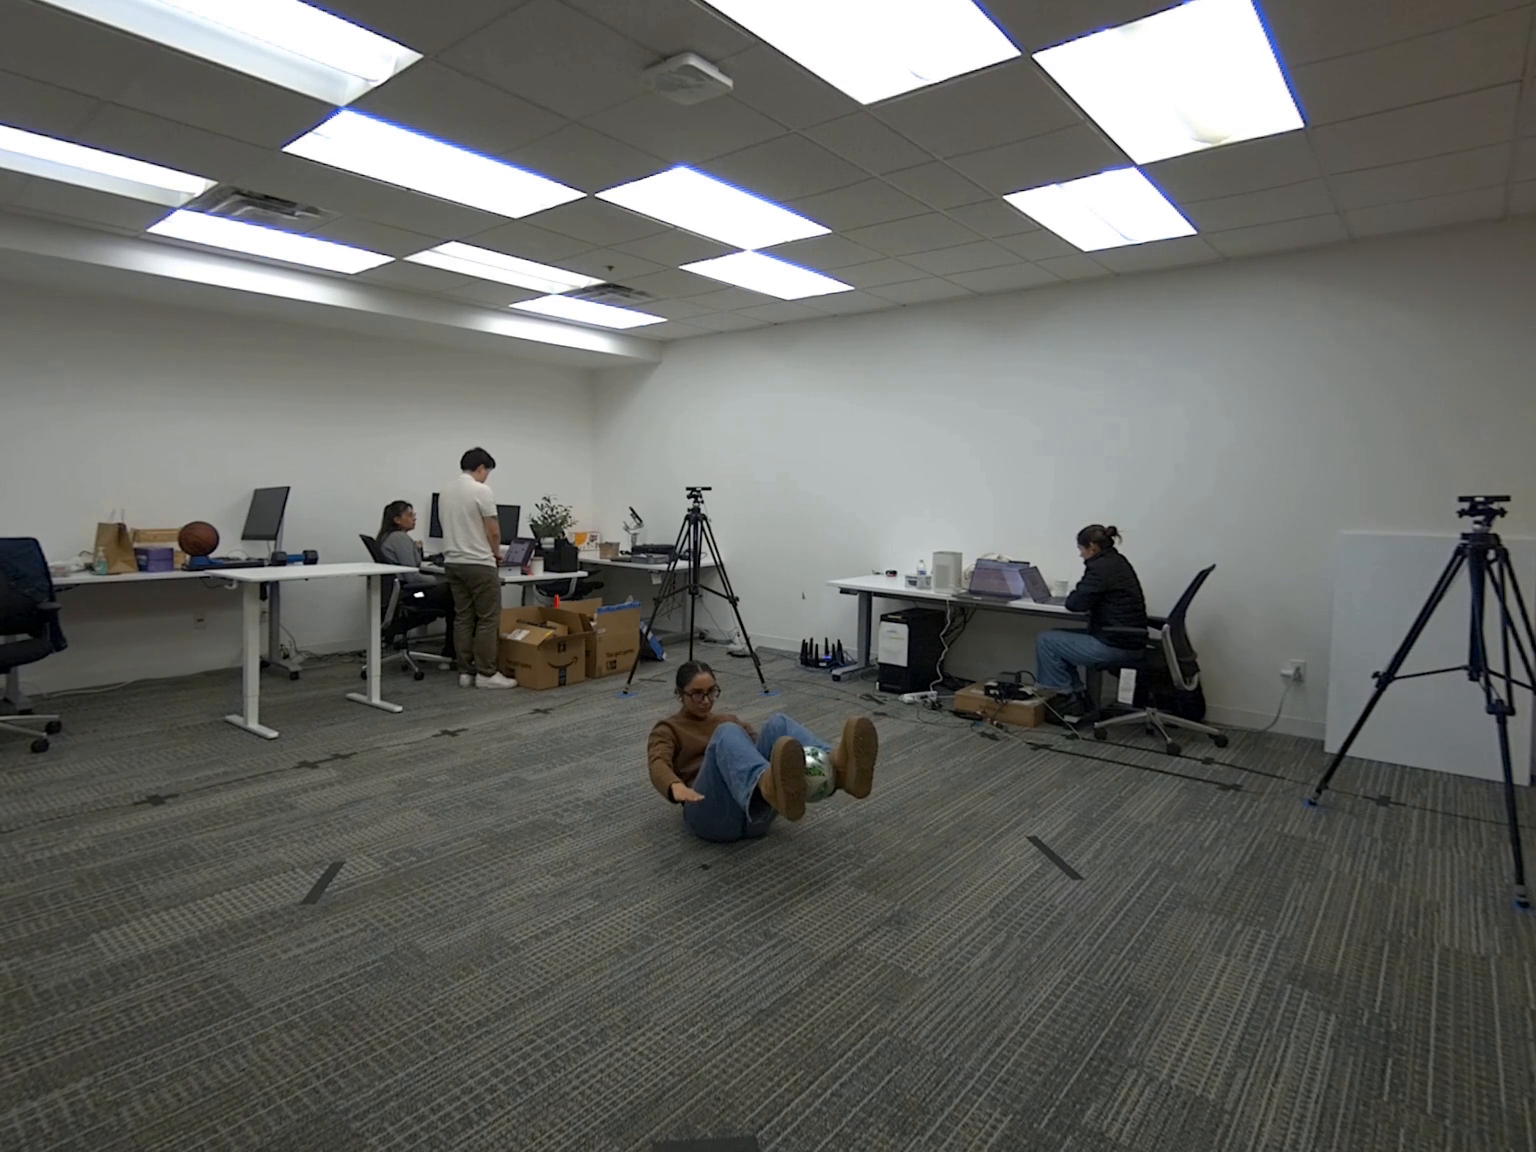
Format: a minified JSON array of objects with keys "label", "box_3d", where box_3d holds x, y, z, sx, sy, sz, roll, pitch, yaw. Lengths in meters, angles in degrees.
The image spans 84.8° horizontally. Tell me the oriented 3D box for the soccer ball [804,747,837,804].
[{"label":"soccer ball","box_3d":[0.145,0.684,2.956,0.187,0.187,0.188,1,4,-2]}]
